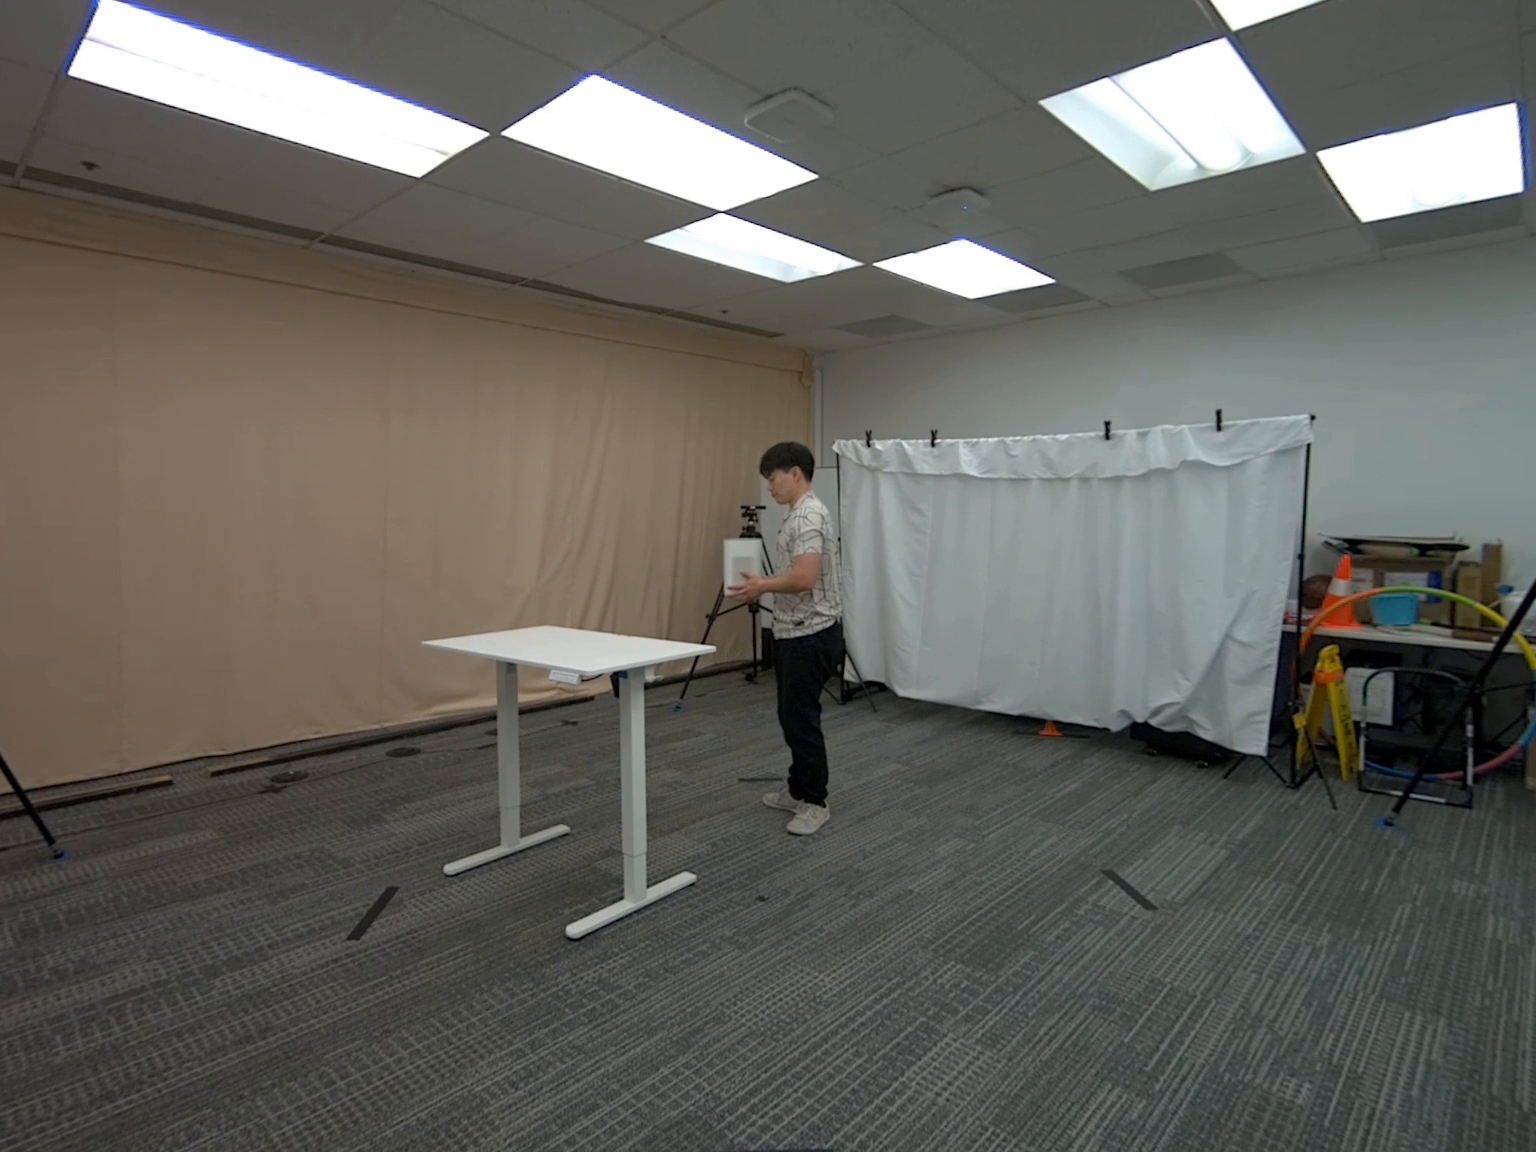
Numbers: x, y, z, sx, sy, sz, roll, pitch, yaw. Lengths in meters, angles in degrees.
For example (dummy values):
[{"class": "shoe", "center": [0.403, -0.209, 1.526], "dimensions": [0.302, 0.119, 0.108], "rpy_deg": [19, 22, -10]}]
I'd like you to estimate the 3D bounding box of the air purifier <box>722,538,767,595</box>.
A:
[{"class": "air purifier", "center": [-0.107, -0.030, 3.740], "dimensions": [0.171, 0.265, 0.171], "rpy_deg": [1, 0, -2]}]
